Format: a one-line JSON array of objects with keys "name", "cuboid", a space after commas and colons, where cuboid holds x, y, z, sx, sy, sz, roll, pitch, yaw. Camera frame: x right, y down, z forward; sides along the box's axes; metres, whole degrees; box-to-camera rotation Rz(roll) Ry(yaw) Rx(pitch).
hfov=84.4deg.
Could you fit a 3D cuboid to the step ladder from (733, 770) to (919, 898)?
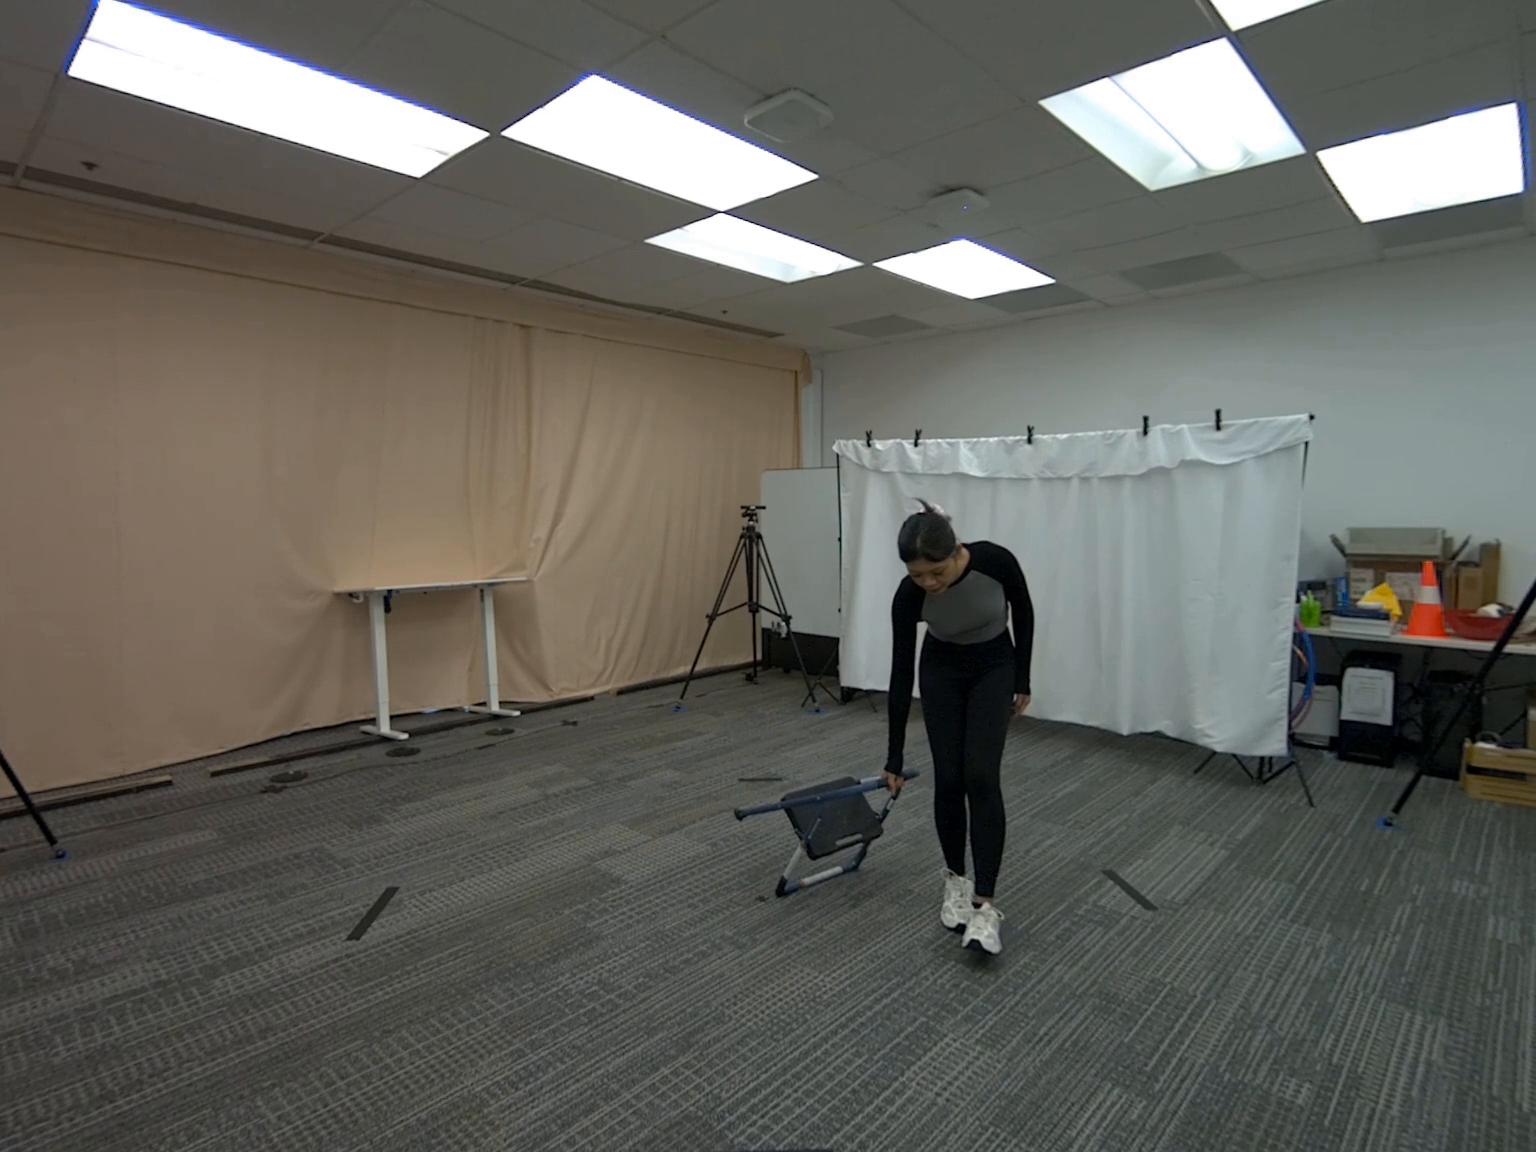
[{"name": "step ladder", "cuboid": [0.255, 0.813, 3.022, 0.418, 0.359, 0.607, -4, -38, -39]}]
